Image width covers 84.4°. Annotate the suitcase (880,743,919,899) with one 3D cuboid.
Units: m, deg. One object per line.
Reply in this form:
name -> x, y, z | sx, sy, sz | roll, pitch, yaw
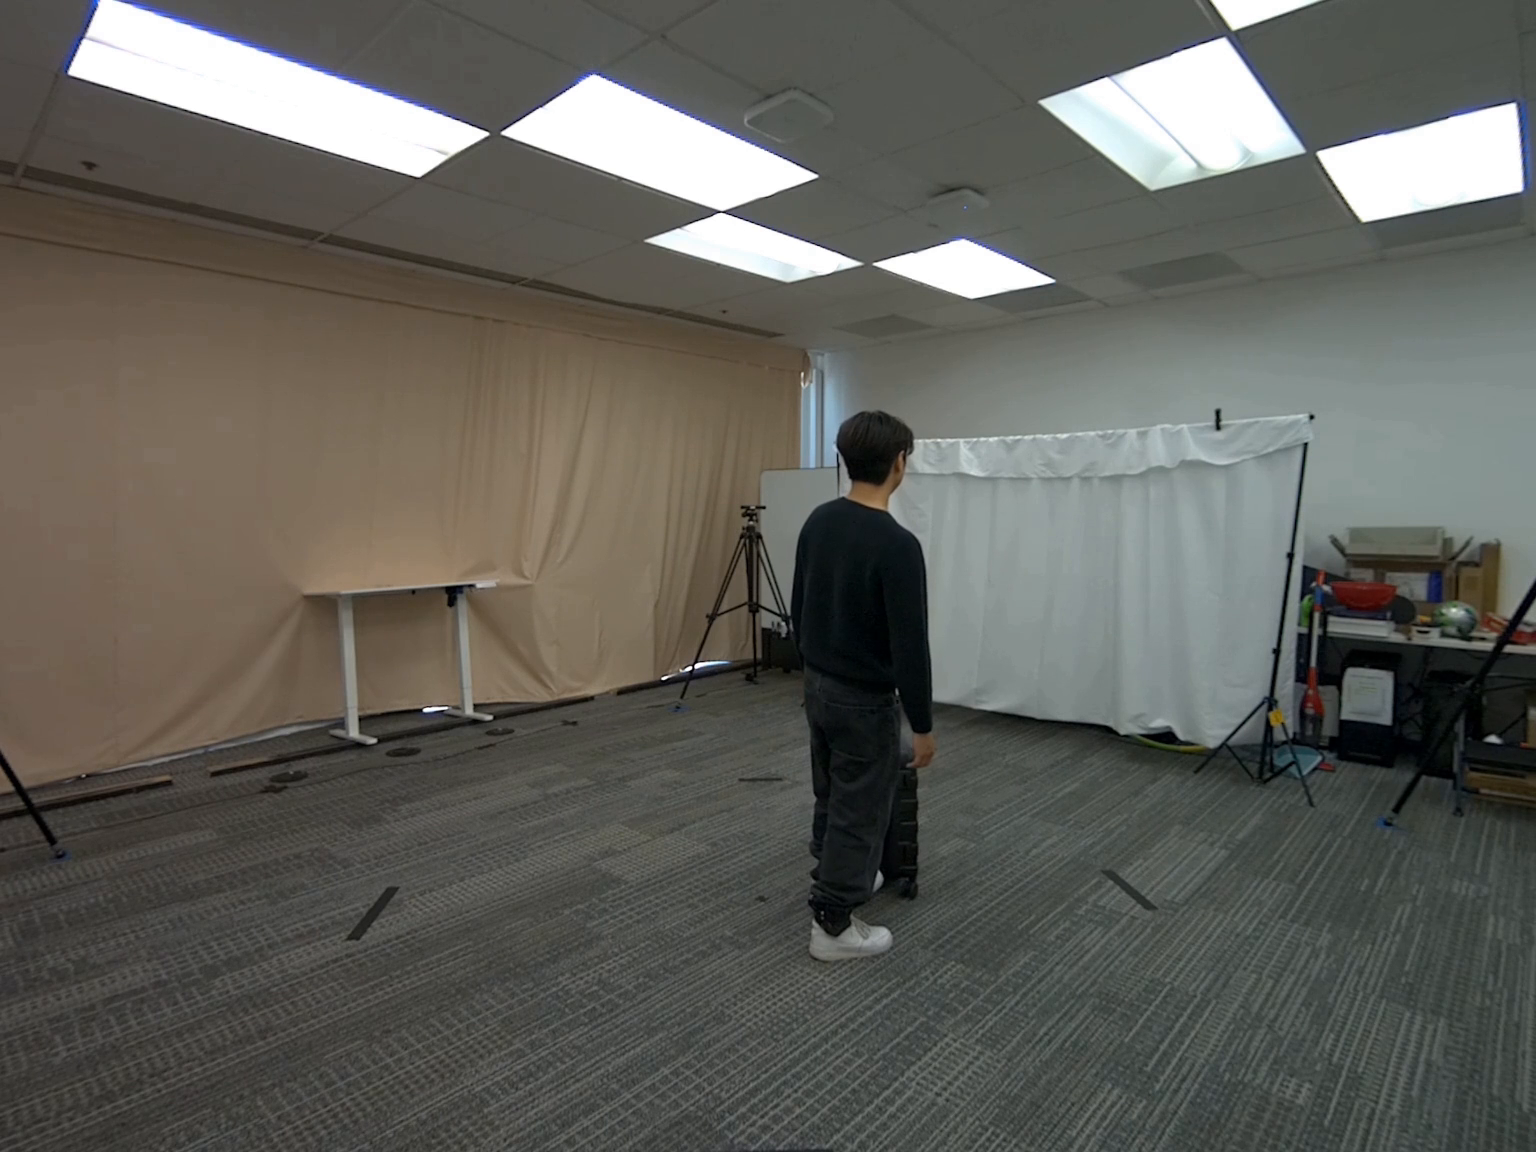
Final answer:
suitcase -> 0.422, 0.855, 3.154 | 0.249, 0.549, 0.375 | 1, 2, 0
